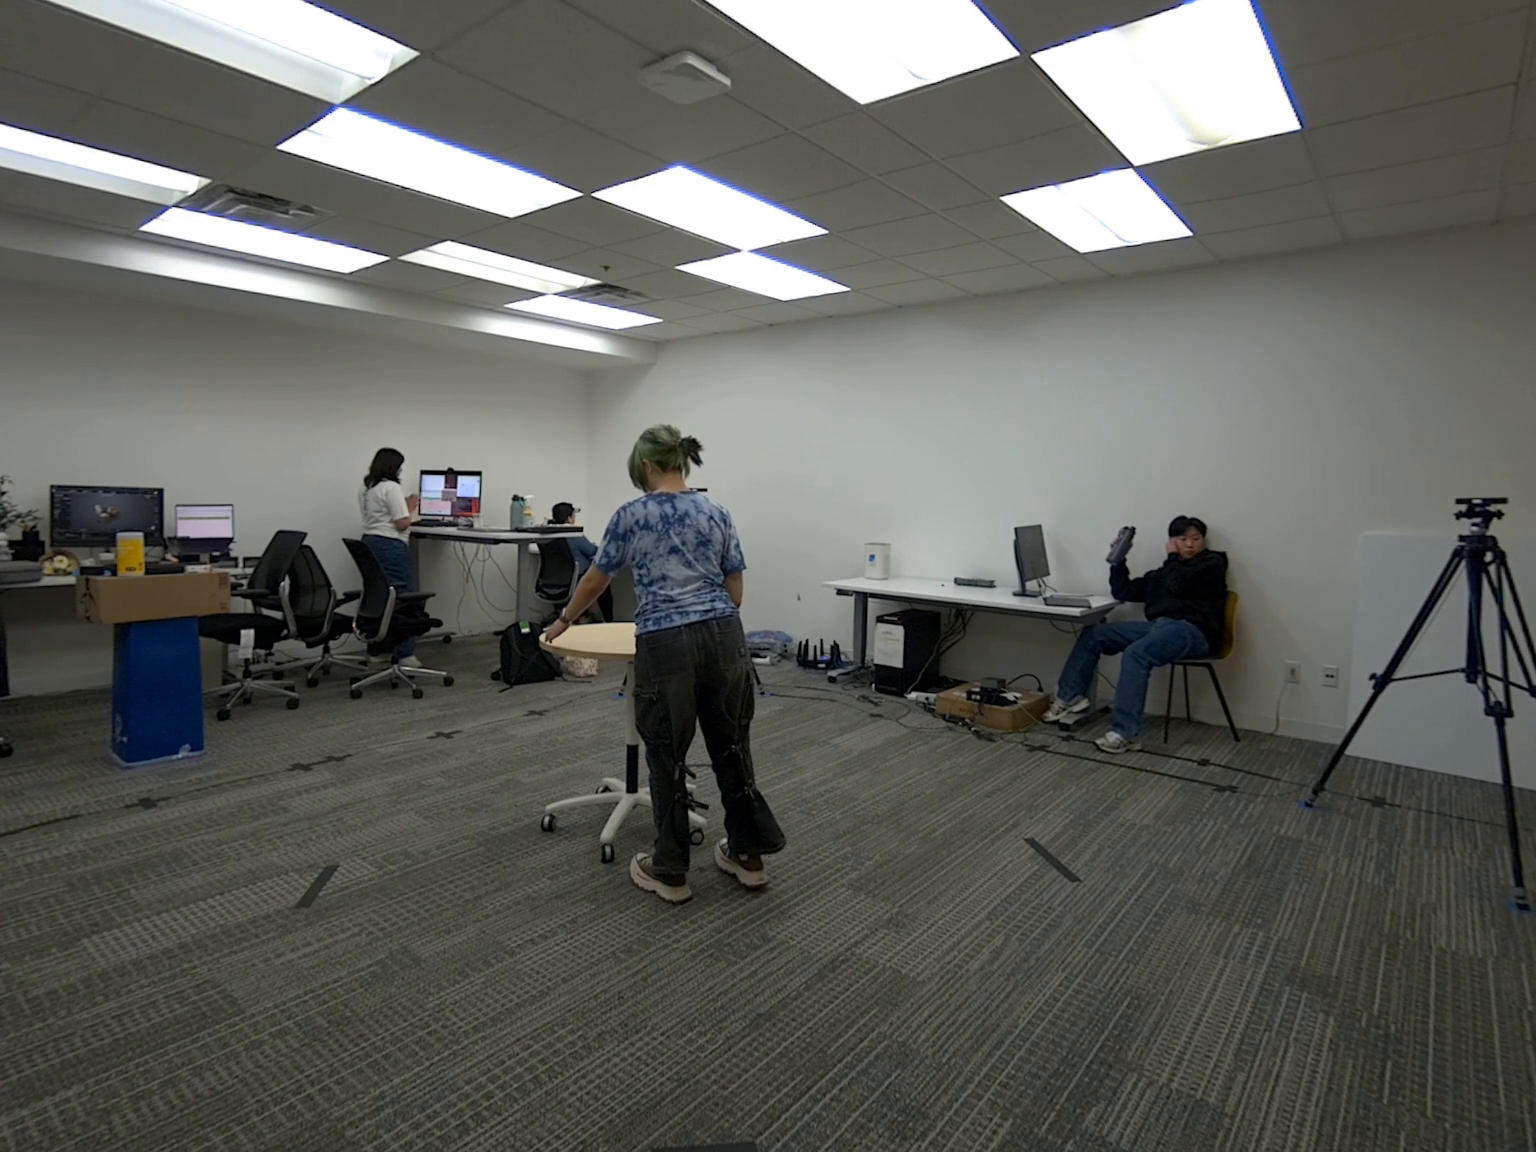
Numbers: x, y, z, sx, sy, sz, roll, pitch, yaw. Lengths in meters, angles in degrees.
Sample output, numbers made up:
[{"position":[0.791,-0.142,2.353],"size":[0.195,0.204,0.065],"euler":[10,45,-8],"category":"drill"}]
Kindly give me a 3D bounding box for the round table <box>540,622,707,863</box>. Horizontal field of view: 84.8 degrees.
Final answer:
[{"position":[-0.572,0.638,3.490],"size":[0.763,0.792,0.767],"euler":[1,4,-2],"category":"round table"}]
